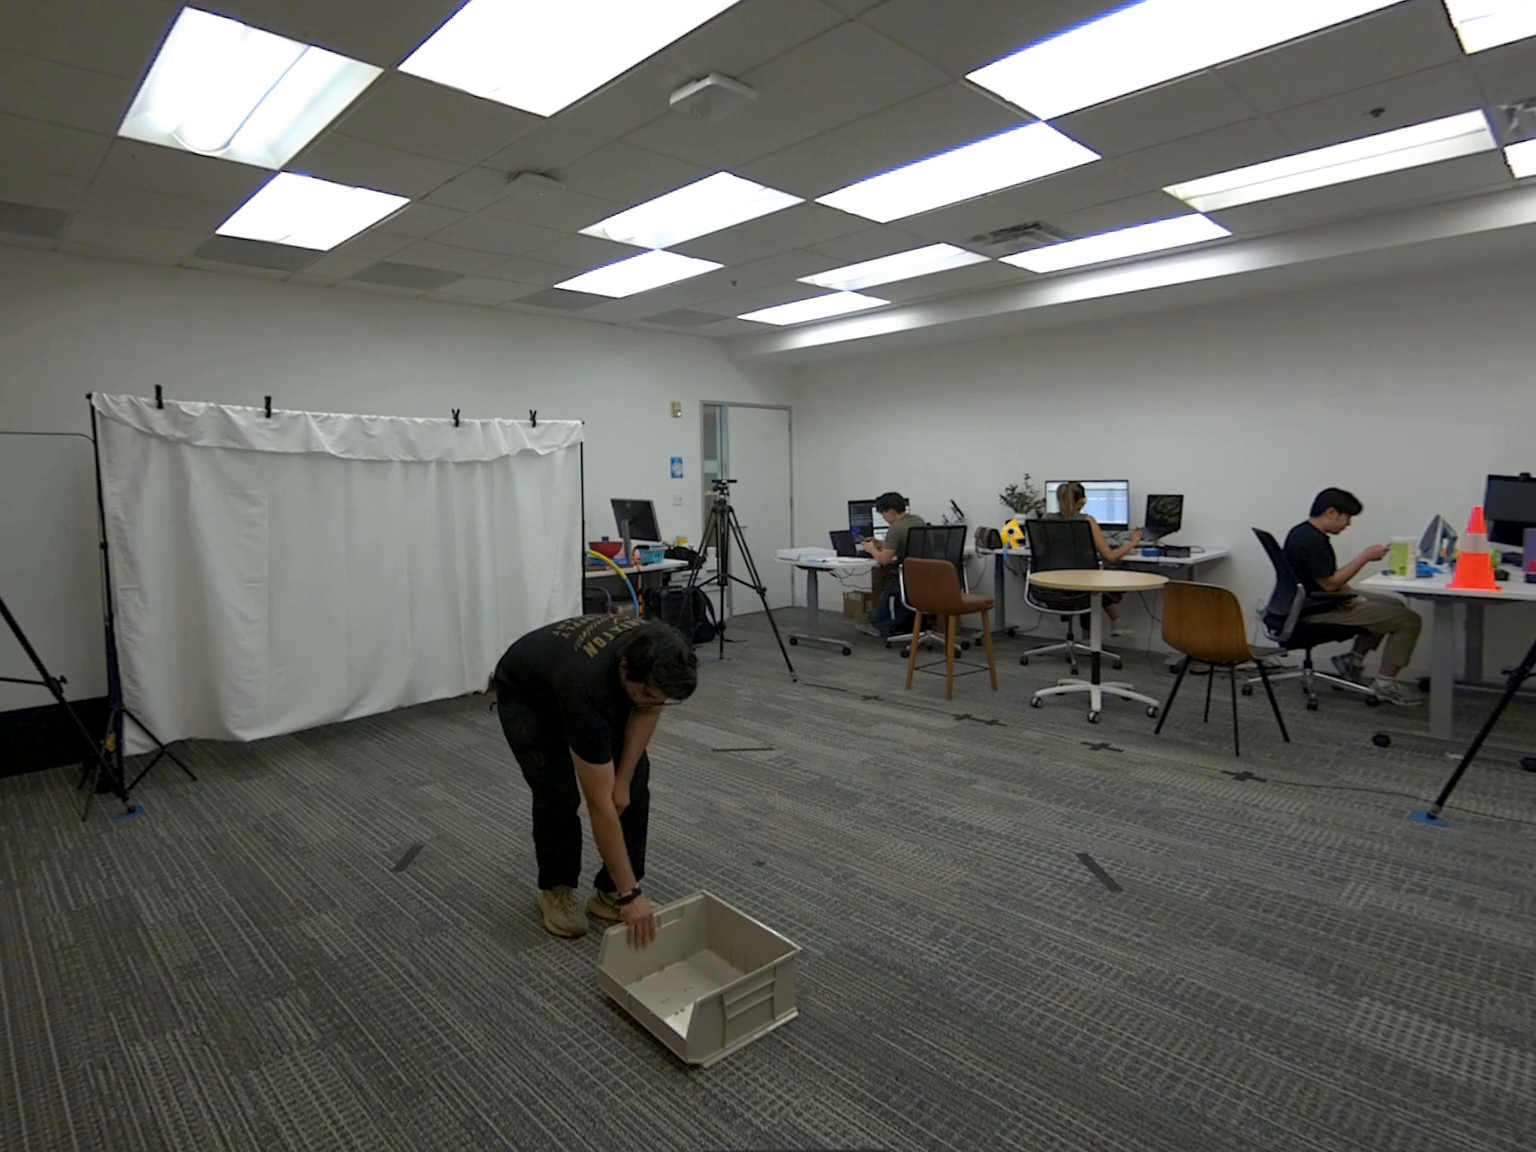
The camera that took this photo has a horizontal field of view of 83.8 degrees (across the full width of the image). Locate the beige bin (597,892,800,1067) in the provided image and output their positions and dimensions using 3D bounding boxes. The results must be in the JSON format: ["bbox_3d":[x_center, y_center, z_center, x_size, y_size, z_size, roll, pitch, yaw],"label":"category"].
[{"bbox_3d":[-0.187,1.057,2.274,0.367,0.188,0.435,-4,6,-40],"label":"beige bin"}]
